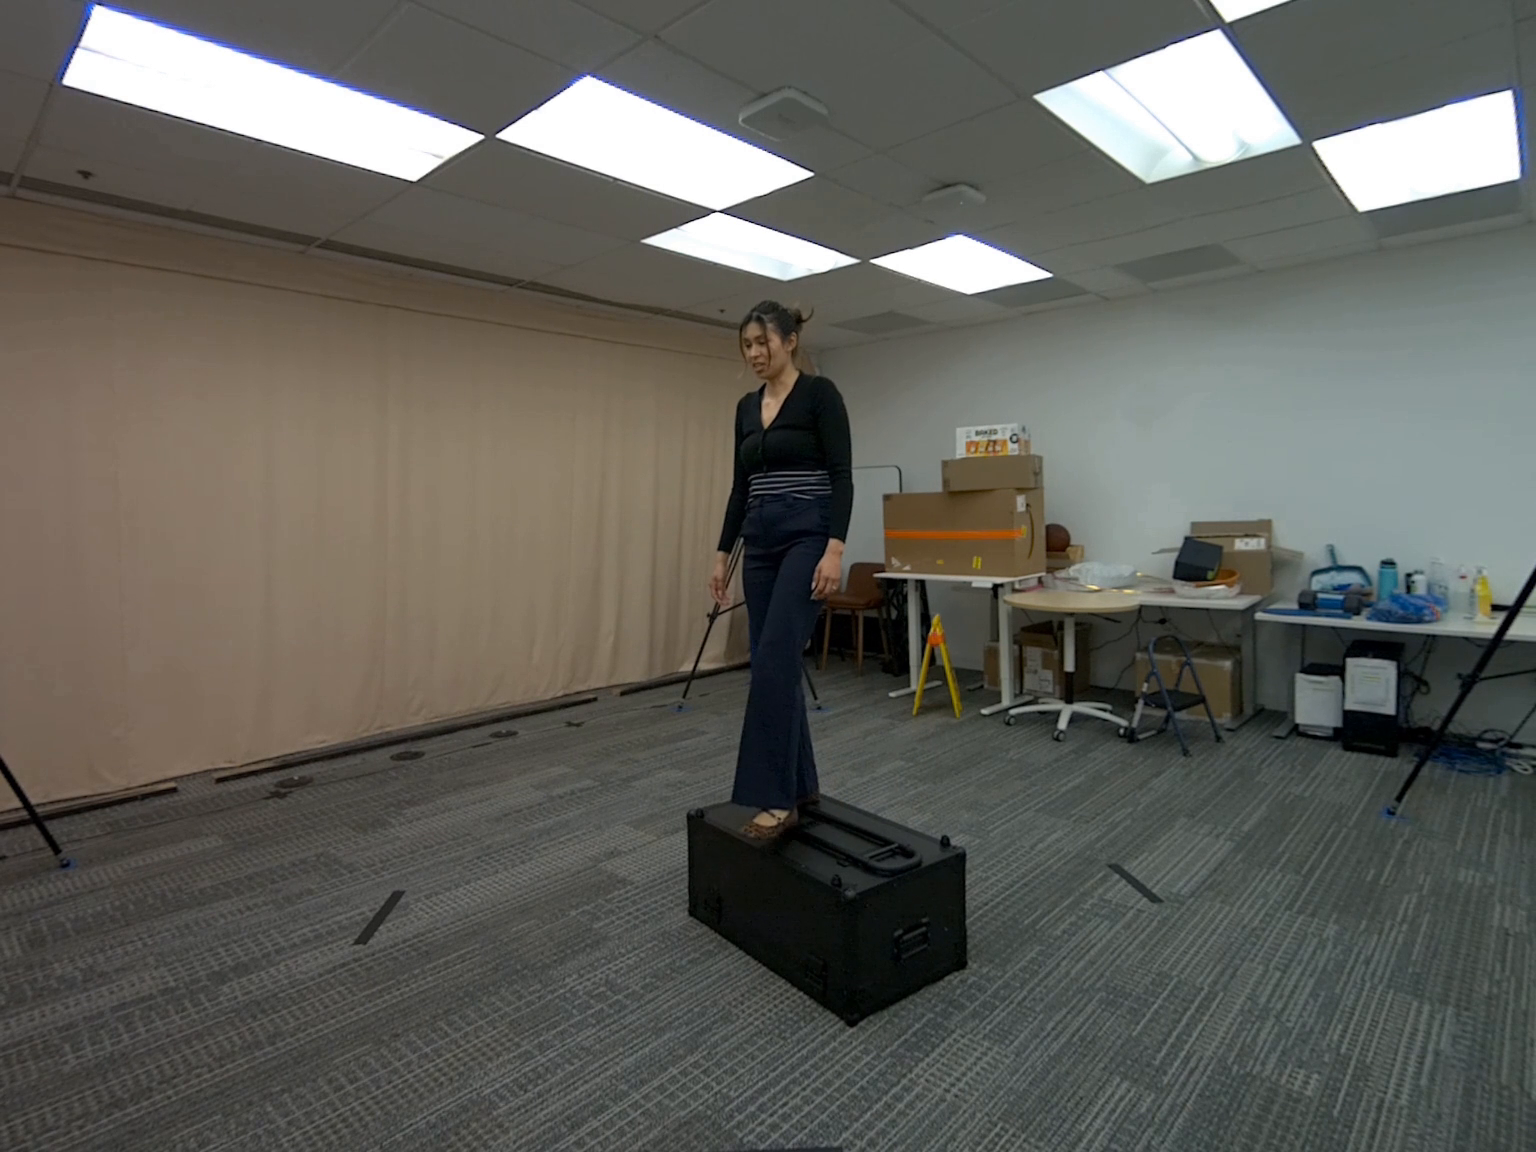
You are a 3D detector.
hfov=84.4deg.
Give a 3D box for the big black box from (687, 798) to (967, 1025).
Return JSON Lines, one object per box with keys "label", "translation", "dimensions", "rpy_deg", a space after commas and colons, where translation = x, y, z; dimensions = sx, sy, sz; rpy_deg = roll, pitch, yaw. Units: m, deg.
{"label": "big black box", "translation": [0.182, 0.992, 2.654], "dimensions": [0.506, 0.395, 0.889], "rpy_deg": [-3, 5, -38]}
